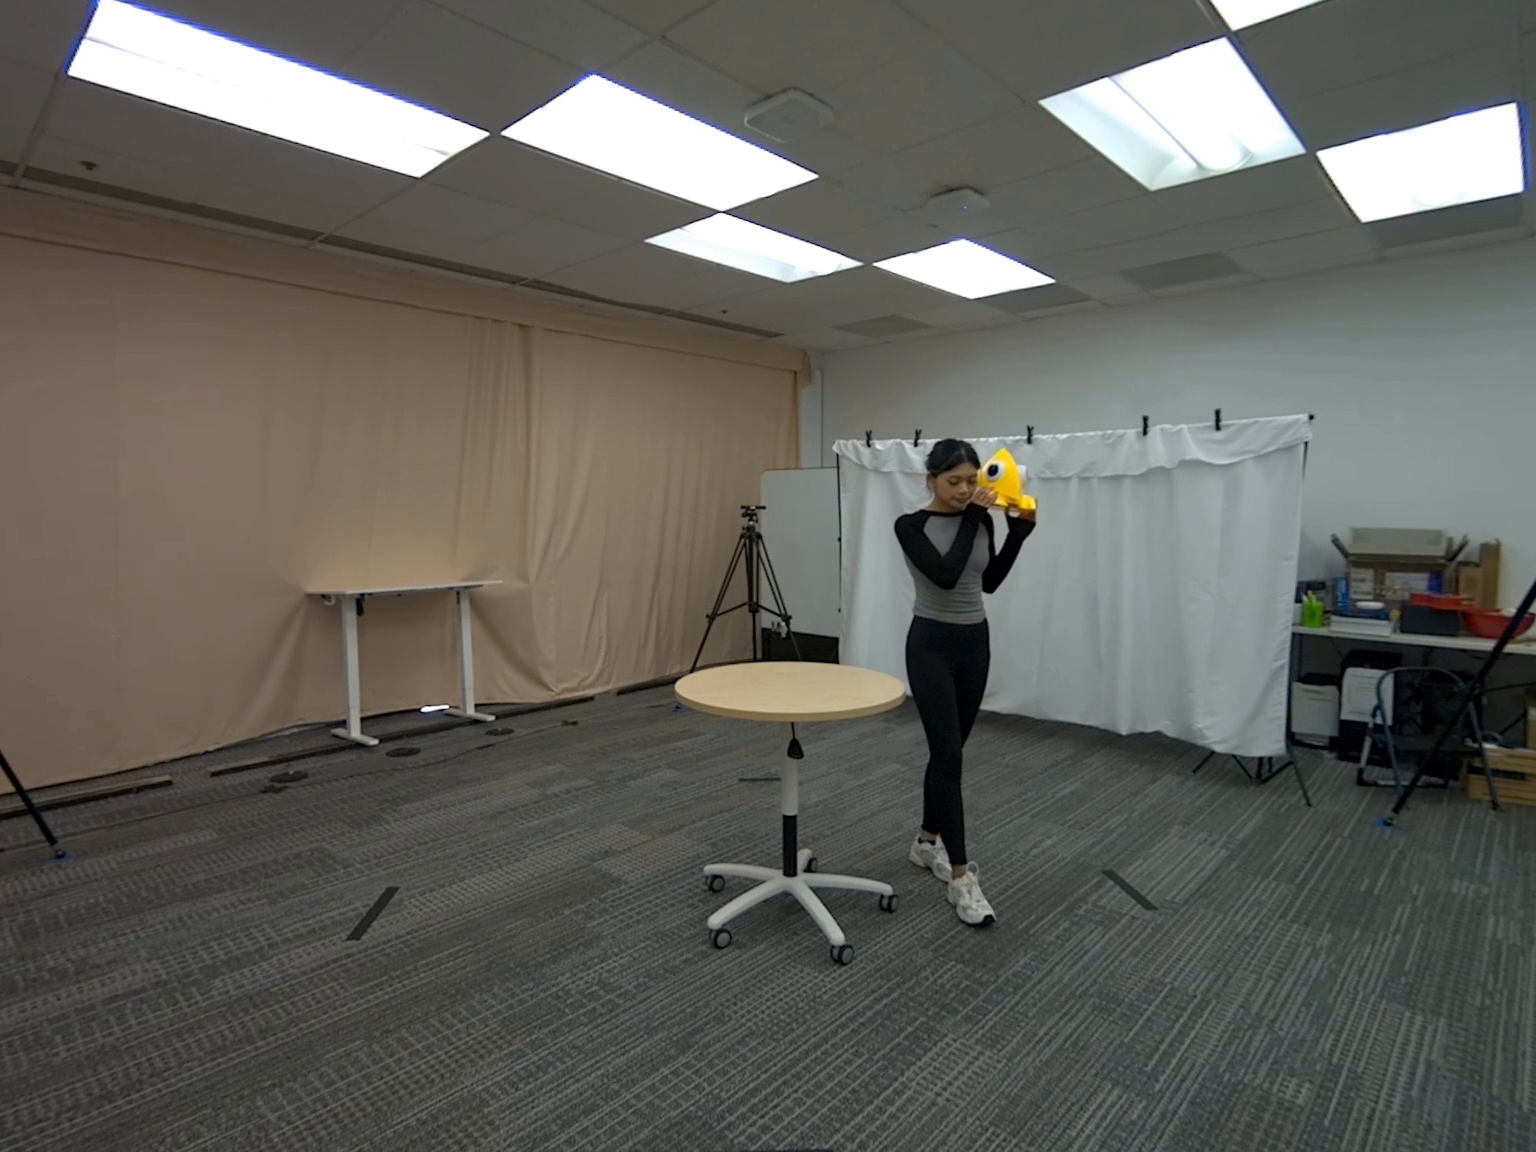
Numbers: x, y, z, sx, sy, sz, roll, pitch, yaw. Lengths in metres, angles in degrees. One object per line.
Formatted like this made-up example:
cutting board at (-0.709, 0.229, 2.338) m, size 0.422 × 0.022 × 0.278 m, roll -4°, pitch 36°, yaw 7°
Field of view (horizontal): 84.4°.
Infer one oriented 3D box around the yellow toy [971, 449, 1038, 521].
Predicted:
yellow toy at (0.876, -0.358, 3.030) m, size 0.202 × 0.231 × 0.195 m, roll 9°, pitch -2°, yaw -11°
